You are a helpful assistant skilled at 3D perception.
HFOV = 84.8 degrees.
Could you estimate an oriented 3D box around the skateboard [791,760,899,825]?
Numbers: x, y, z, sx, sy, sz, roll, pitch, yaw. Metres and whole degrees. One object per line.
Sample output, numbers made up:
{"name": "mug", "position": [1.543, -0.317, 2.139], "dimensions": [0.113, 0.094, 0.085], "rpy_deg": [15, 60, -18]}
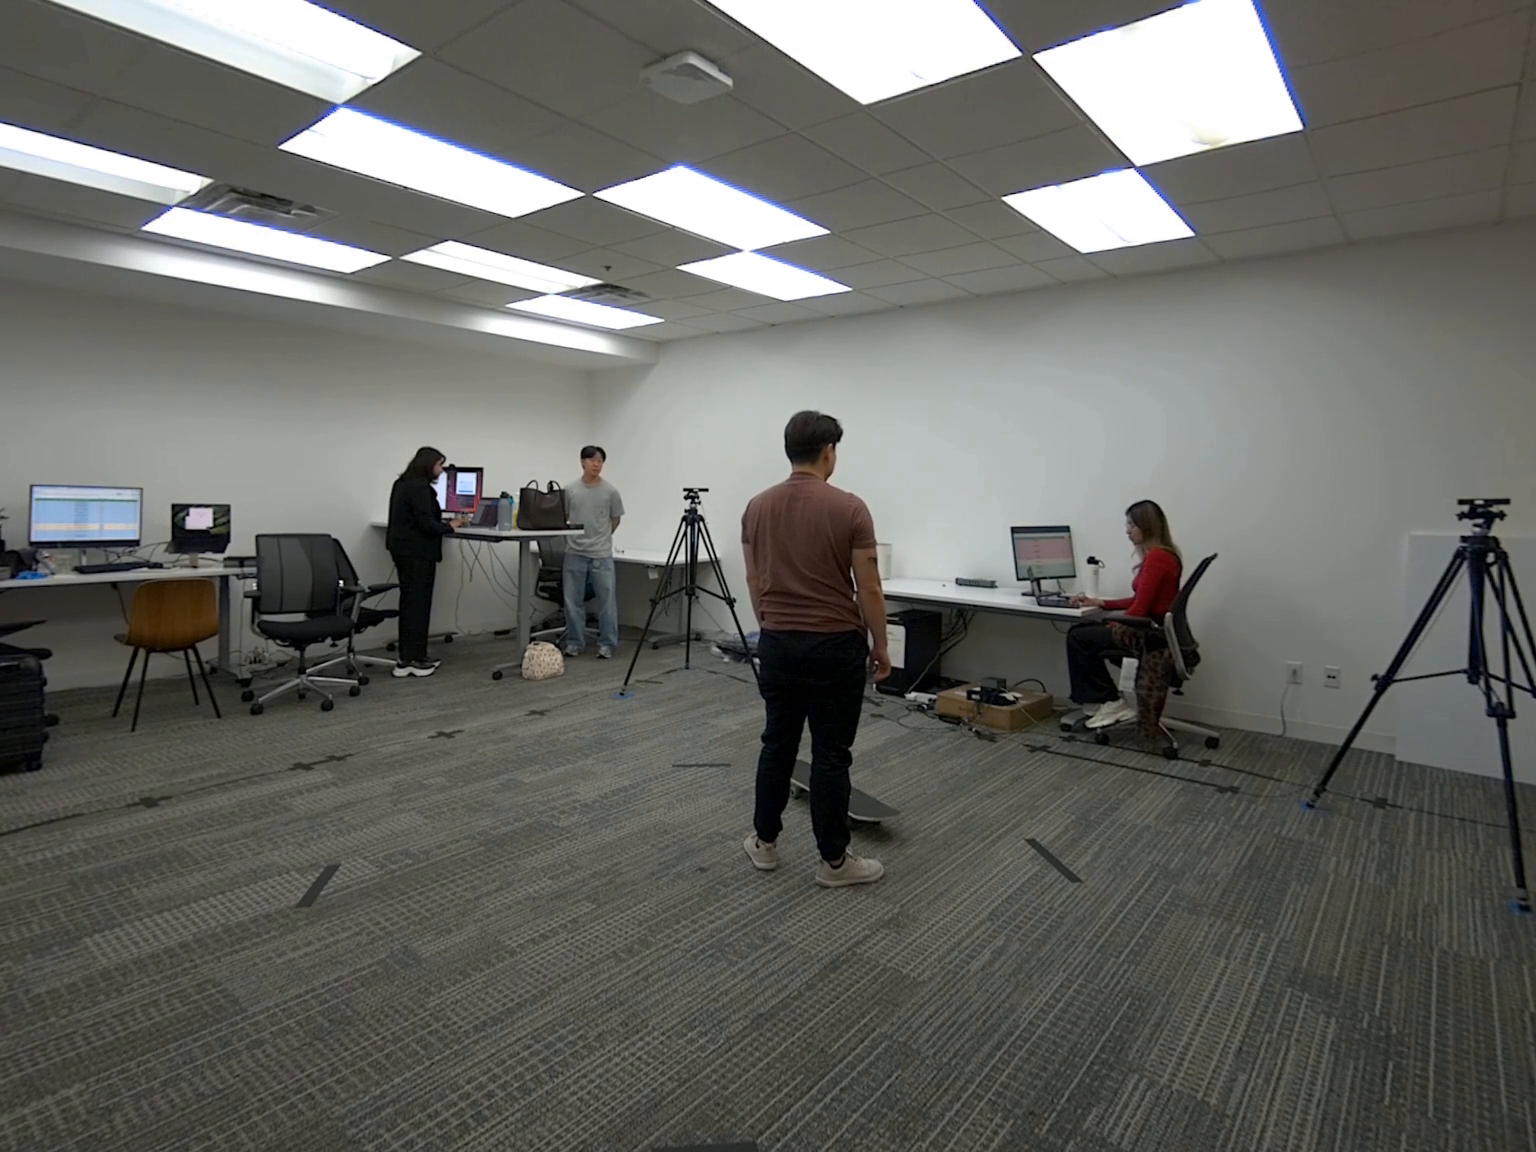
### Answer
{"name": "skateboard", "position": [0.282, 0.965, 3.728], "dimensions": [0.188, 0.110, 0.809], "rpy_deg": [-3, 7, -29]}
